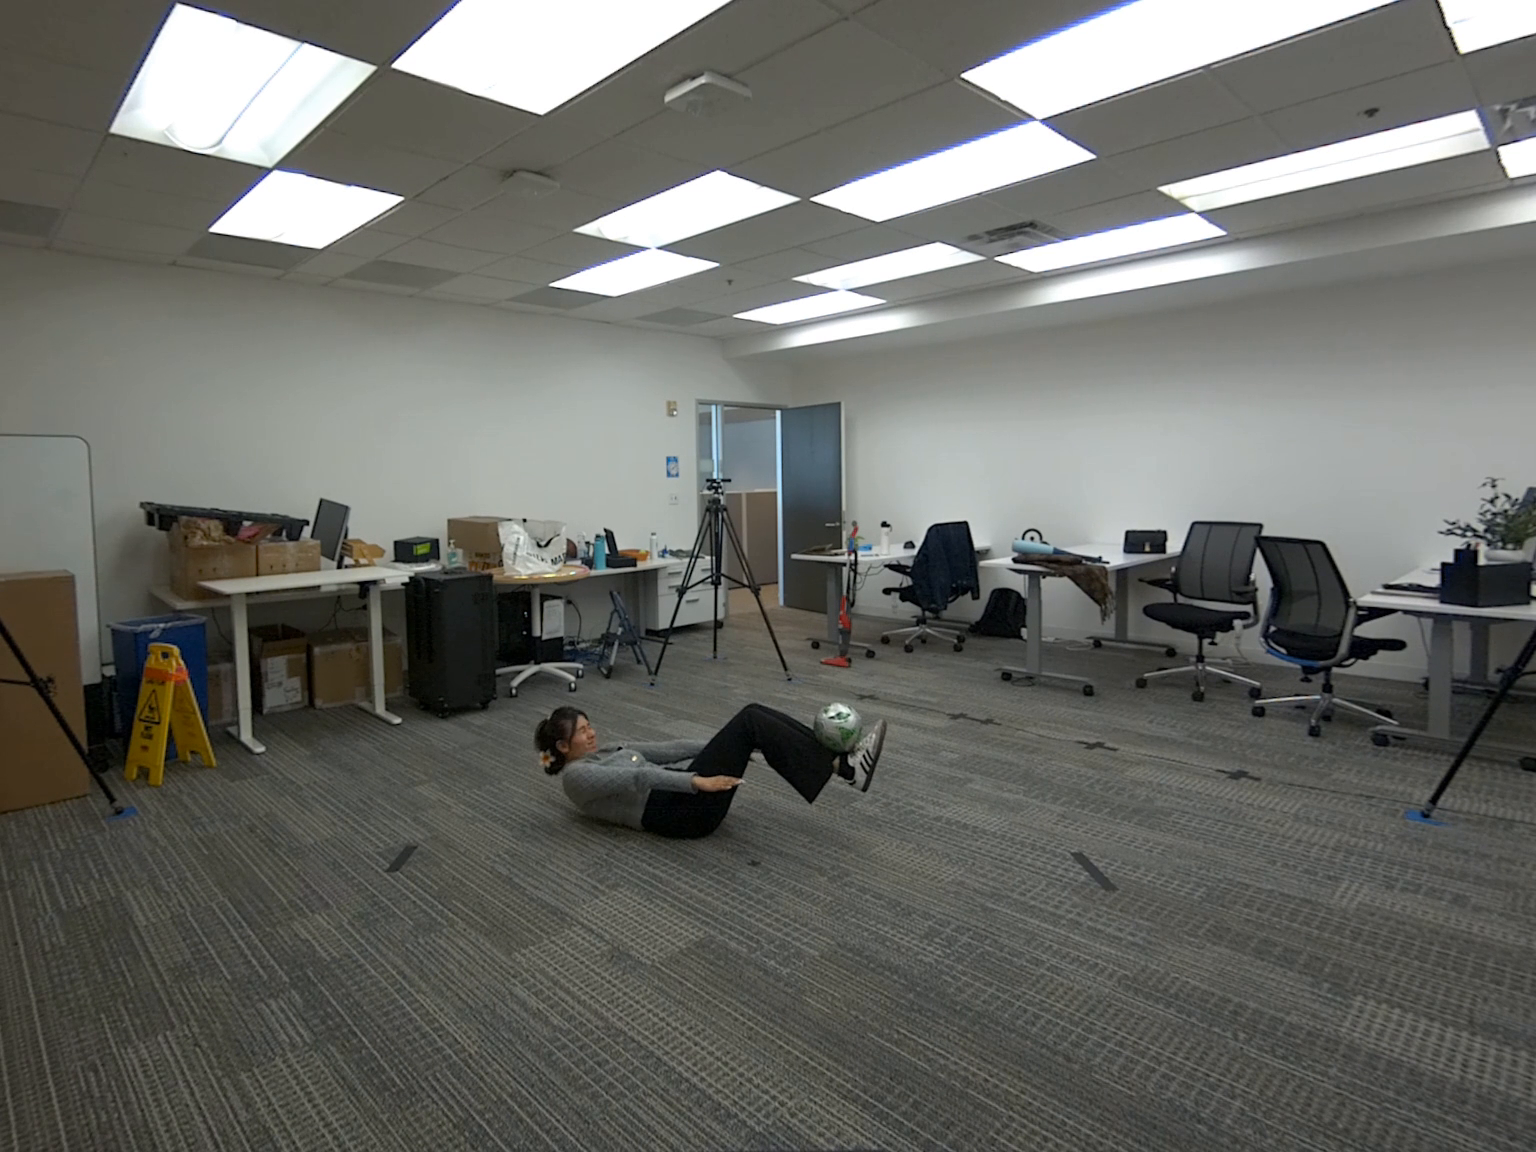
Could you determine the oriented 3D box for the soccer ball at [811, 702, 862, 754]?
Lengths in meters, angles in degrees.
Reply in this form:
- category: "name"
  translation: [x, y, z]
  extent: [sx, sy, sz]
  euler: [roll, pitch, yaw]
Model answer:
- category: "soccer ball"
  translation: [0.266, 0.574, 3.262]
  extent: [0.187, 0.187, 0.188]
  euler: [-1, 5, -2]
